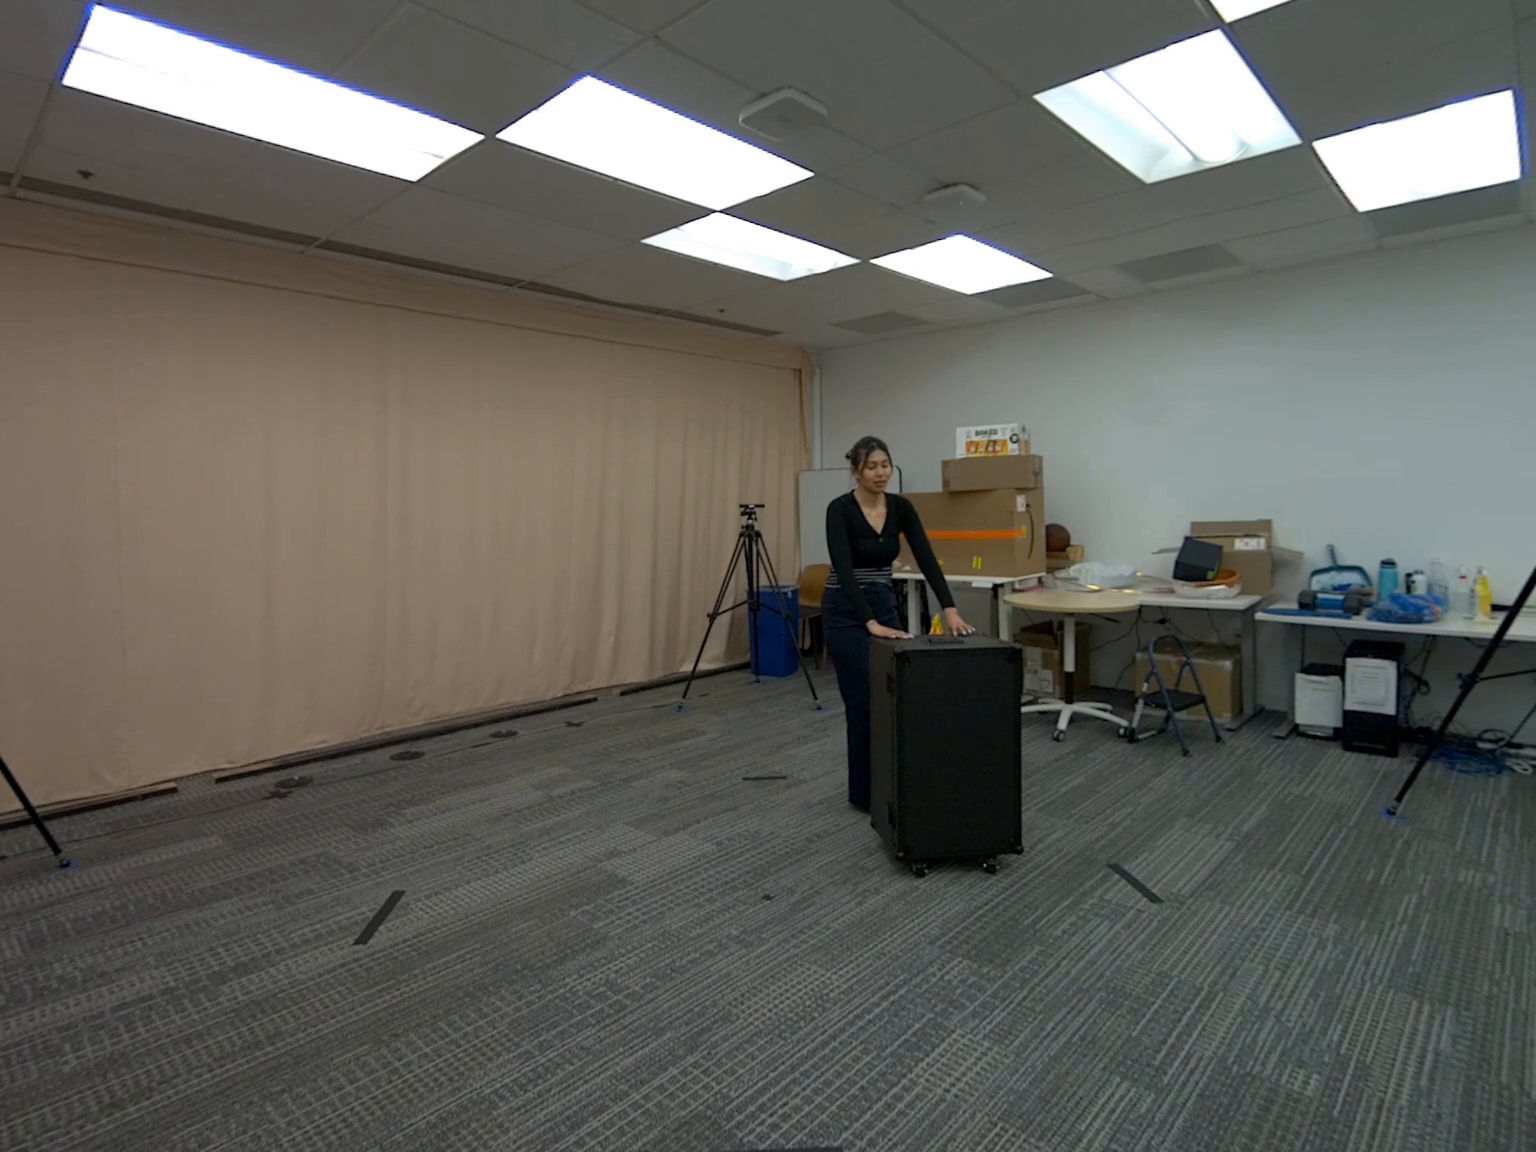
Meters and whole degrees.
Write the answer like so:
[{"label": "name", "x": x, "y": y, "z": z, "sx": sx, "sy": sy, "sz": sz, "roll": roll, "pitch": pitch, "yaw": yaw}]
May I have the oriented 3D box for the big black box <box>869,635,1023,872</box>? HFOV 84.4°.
[{"label": "big black box", "x": 0.683, "y": 0.673, "z": 3.297, "sx": 0.517, "sy": 0.860, "sz": 0.400, "roll": -2, "pitch": 2, "yaw": -8}]
